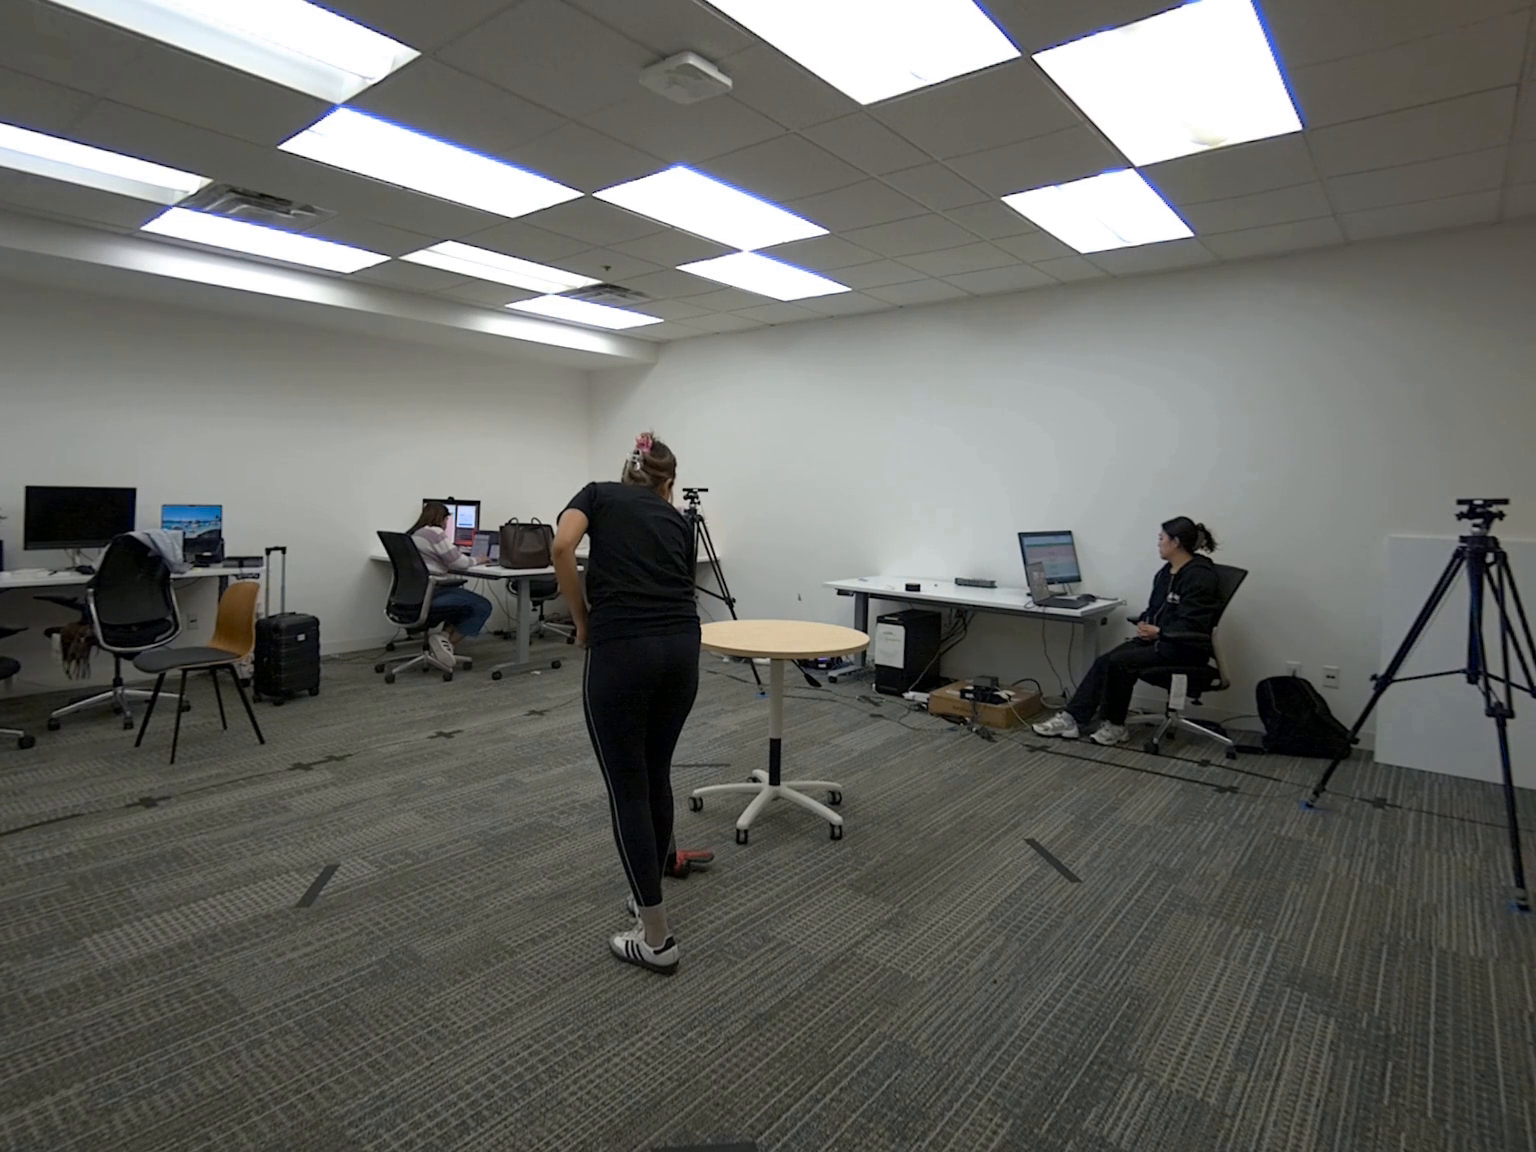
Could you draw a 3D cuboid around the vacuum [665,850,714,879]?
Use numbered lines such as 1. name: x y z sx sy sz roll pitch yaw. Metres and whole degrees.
1. vacuum: -0.437 0.629 2.856 0.257 1.017 0.146 -3 32 16
